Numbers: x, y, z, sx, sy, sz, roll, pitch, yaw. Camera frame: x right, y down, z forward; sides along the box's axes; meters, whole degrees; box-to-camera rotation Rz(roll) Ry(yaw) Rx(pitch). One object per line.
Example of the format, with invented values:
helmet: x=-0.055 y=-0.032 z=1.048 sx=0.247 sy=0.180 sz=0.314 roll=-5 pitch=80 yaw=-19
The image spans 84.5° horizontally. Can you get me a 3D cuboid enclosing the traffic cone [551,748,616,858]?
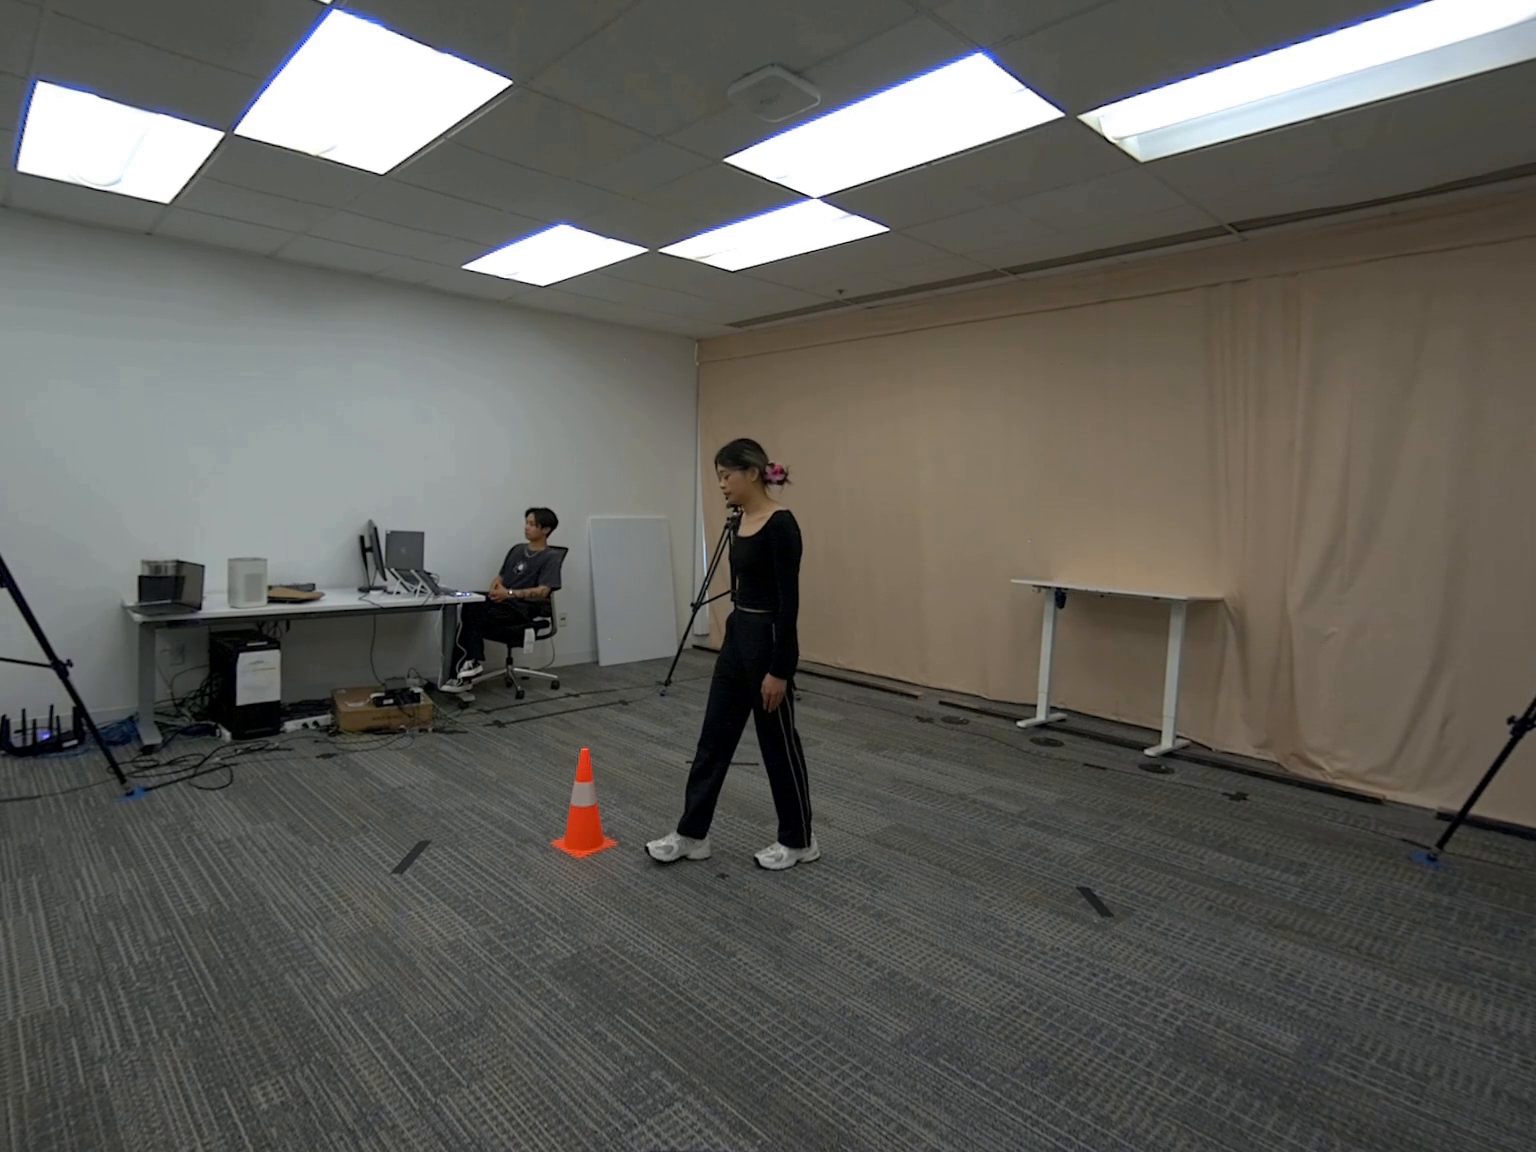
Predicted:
traffic cone: x=-0.732 y=0.880 z=3.357 sx=0.208 sy=0.383 sz=0.200 roll=5 pitch=4 yaw=41
